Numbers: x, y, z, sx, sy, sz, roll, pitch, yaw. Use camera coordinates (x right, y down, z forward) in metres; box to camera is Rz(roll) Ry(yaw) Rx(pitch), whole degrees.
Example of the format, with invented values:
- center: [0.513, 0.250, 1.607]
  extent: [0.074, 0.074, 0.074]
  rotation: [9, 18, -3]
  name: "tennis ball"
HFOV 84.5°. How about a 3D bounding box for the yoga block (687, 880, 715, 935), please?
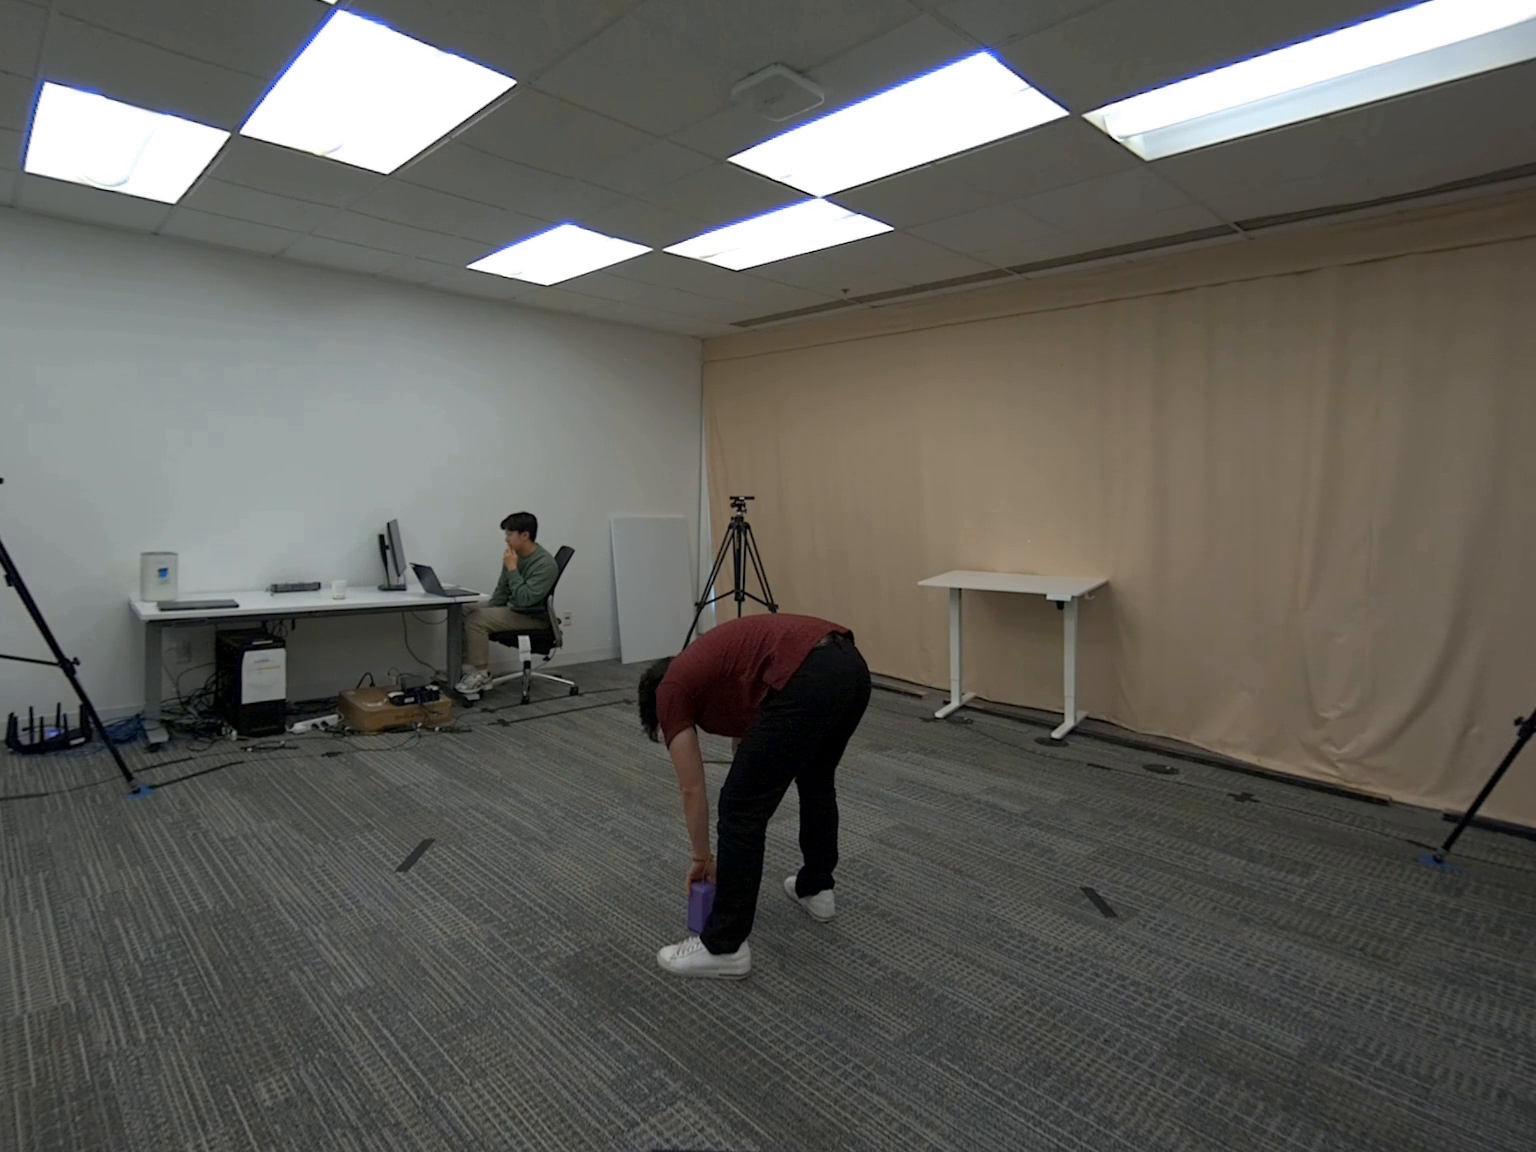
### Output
- center: [-0.167, 1.066, 2.764]
  extent: [0.078, 0.148, 0.224]
  rotation: [9, 8, 34]
  name: "yoga block"
